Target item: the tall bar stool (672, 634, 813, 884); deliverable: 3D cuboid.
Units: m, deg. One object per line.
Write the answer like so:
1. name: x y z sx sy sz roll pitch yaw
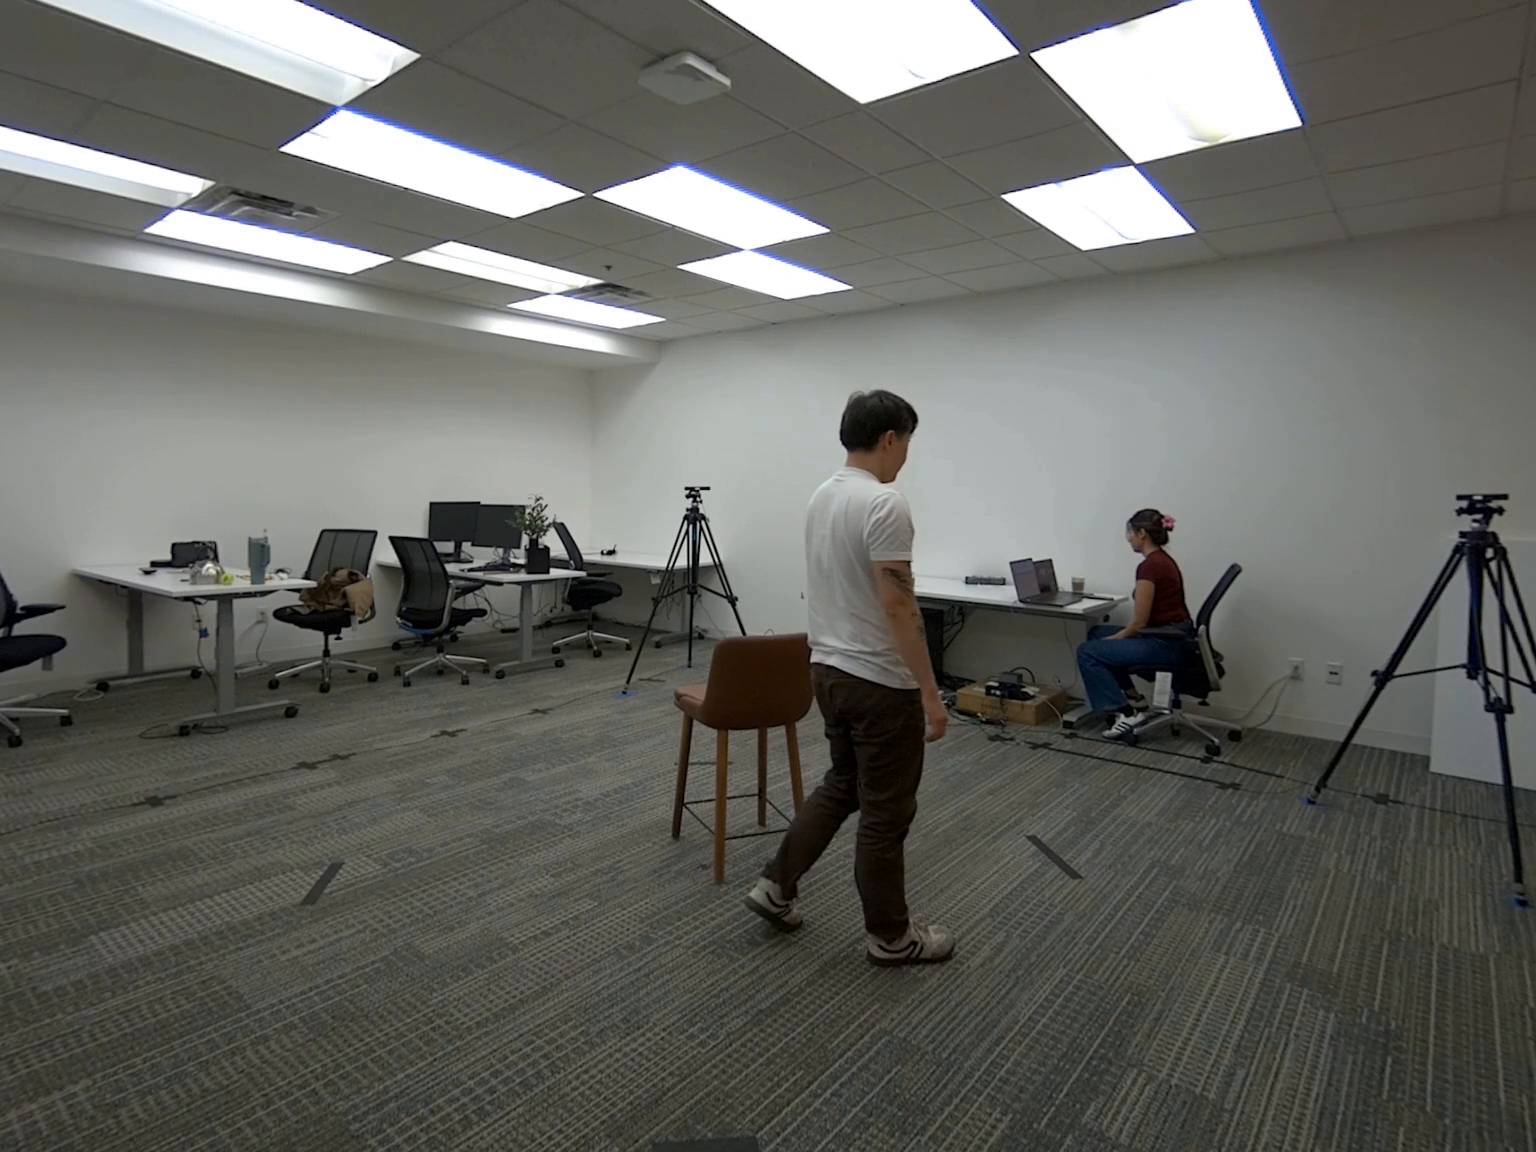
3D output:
1. tall bar stool: -0.105 0.618 3.225 0.446 0.886 0.481 -1 5 -24
